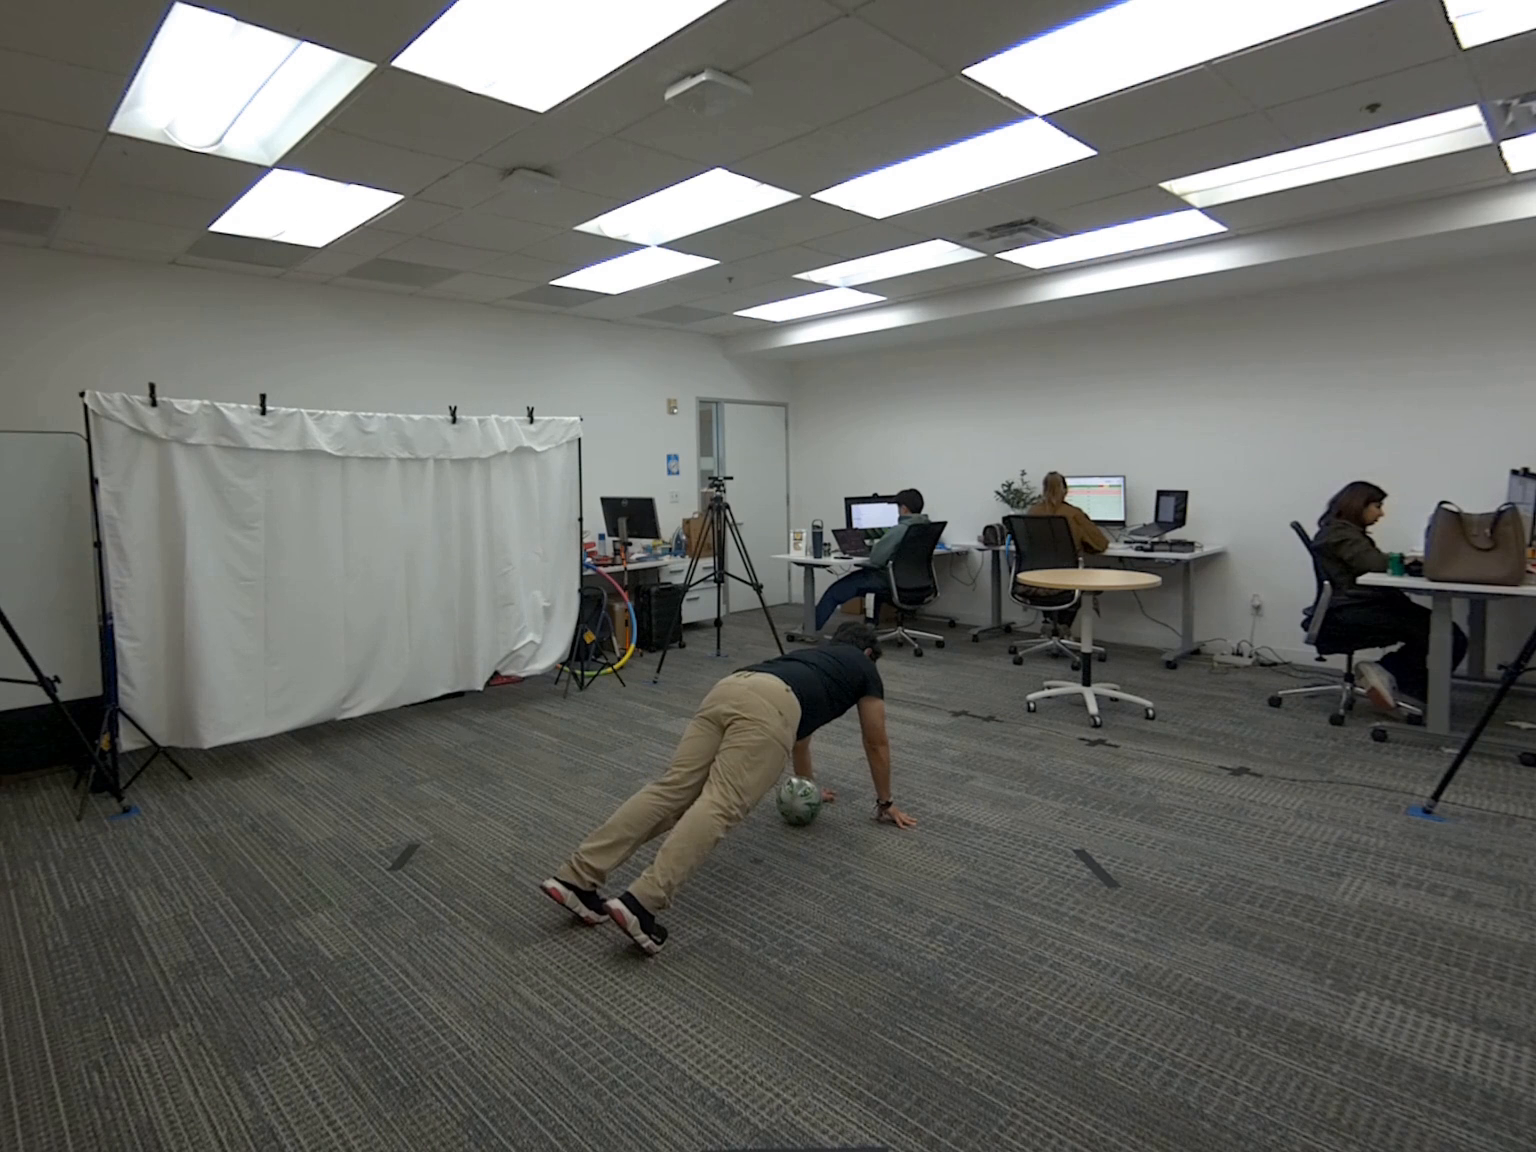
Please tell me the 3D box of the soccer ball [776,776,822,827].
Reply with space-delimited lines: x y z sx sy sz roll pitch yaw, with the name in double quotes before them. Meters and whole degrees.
"soccer ball" 0.123 0.910 3.447 0.187 0.187 0.188 -1 5 -2
